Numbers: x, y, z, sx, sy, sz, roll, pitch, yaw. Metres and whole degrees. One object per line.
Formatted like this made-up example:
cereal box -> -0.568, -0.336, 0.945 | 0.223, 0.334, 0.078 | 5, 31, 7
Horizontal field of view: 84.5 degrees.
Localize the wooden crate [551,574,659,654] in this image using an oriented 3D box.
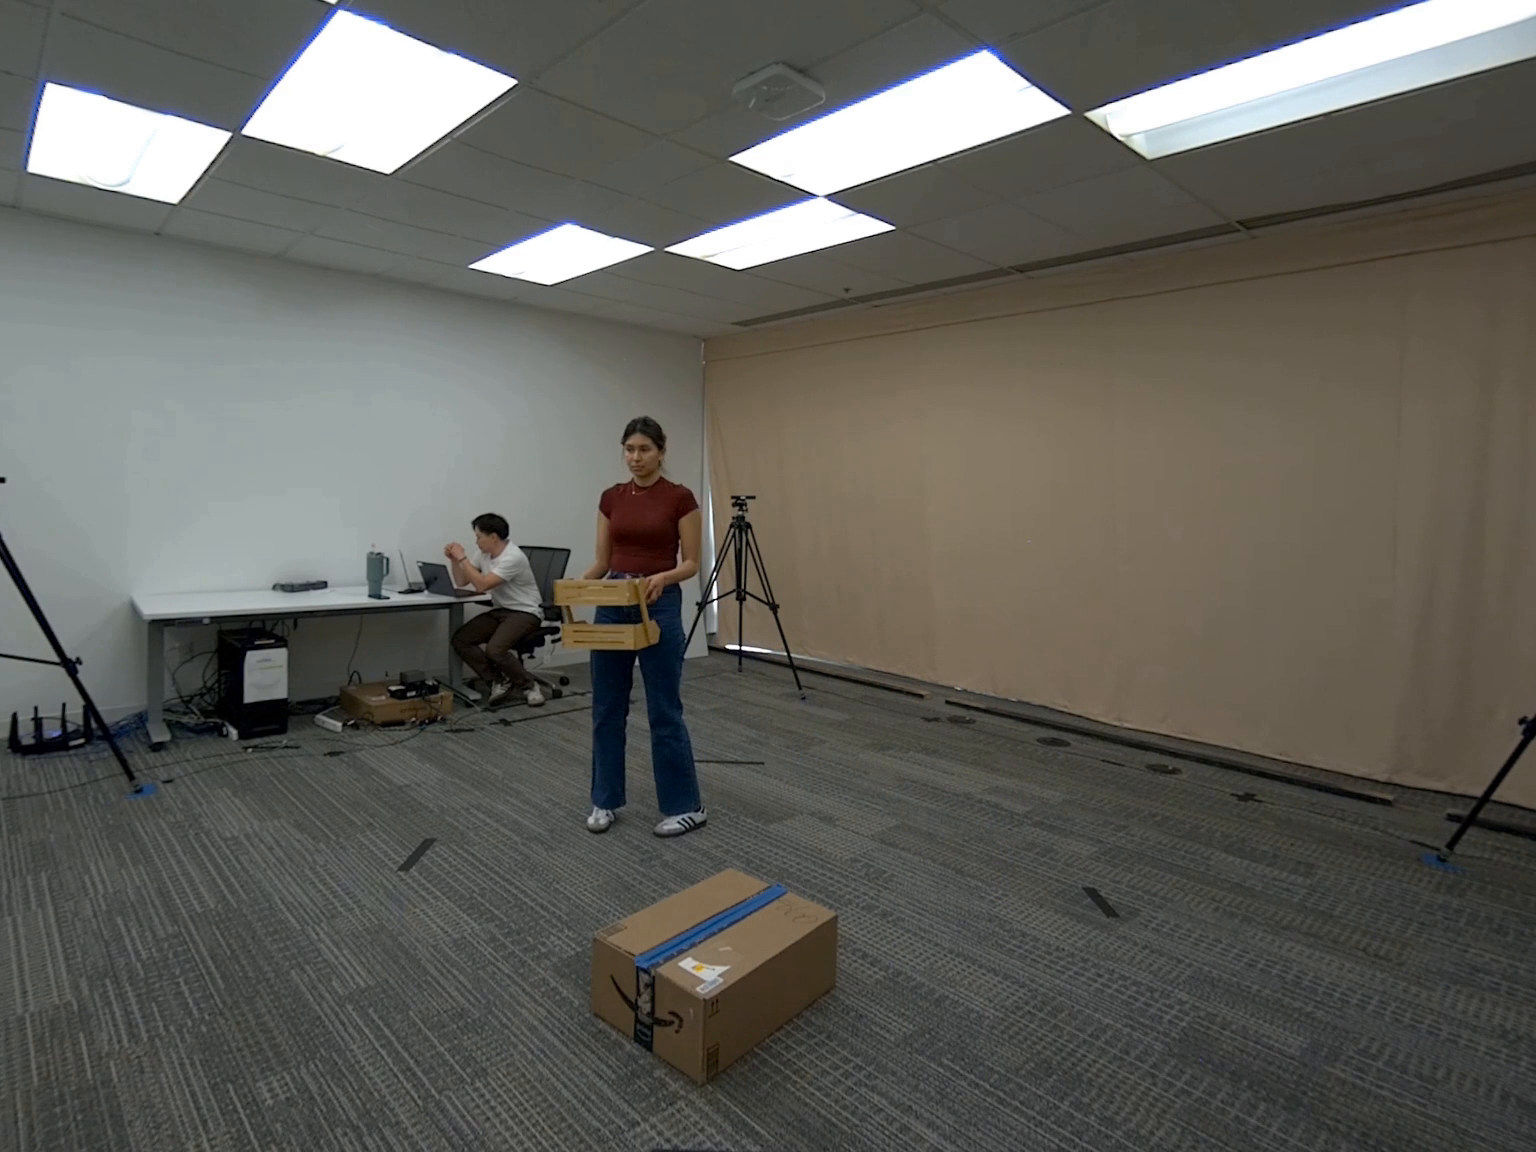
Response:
wooden crate -> -0.603, 0.137, 3.212 | 0.328, 0.273, 0.299 | -1, 2, 14
